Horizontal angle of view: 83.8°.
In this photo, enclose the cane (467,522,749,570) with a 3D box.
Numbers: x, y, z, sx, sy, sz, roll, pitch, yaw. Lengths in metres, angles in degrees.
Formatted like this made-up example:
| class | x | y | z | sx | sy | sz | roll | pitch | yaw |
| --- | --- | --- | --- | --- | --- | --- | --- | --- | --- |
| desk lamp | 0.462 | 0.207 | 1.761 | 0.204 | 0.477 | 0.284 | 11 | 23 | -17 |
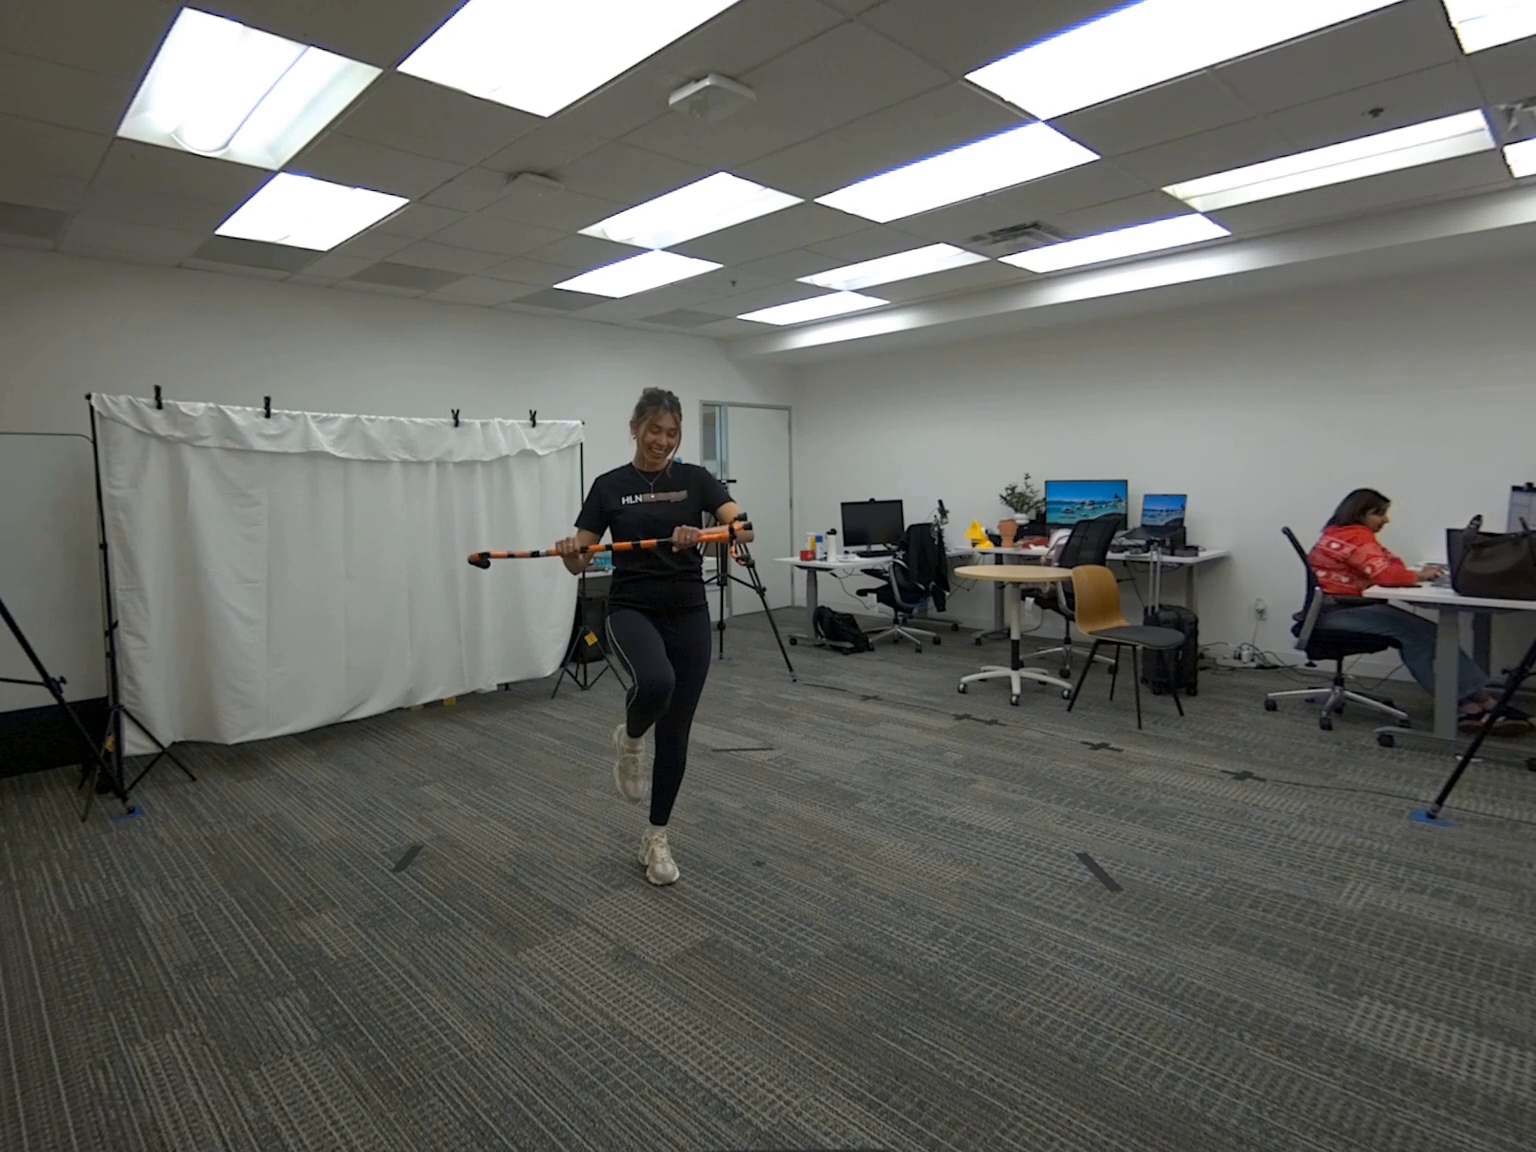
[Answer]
| class | x | y | z | sx | sy | sz | roll | pitch | yaw |
| --- | --- | --- | --- | --- | --- | --- | --- | --- | --- |
| cane | -0.499 | -0.082 | 2.649 | 0.913 | 0.153 | 0.203 | -3 | -11 | 6 |
